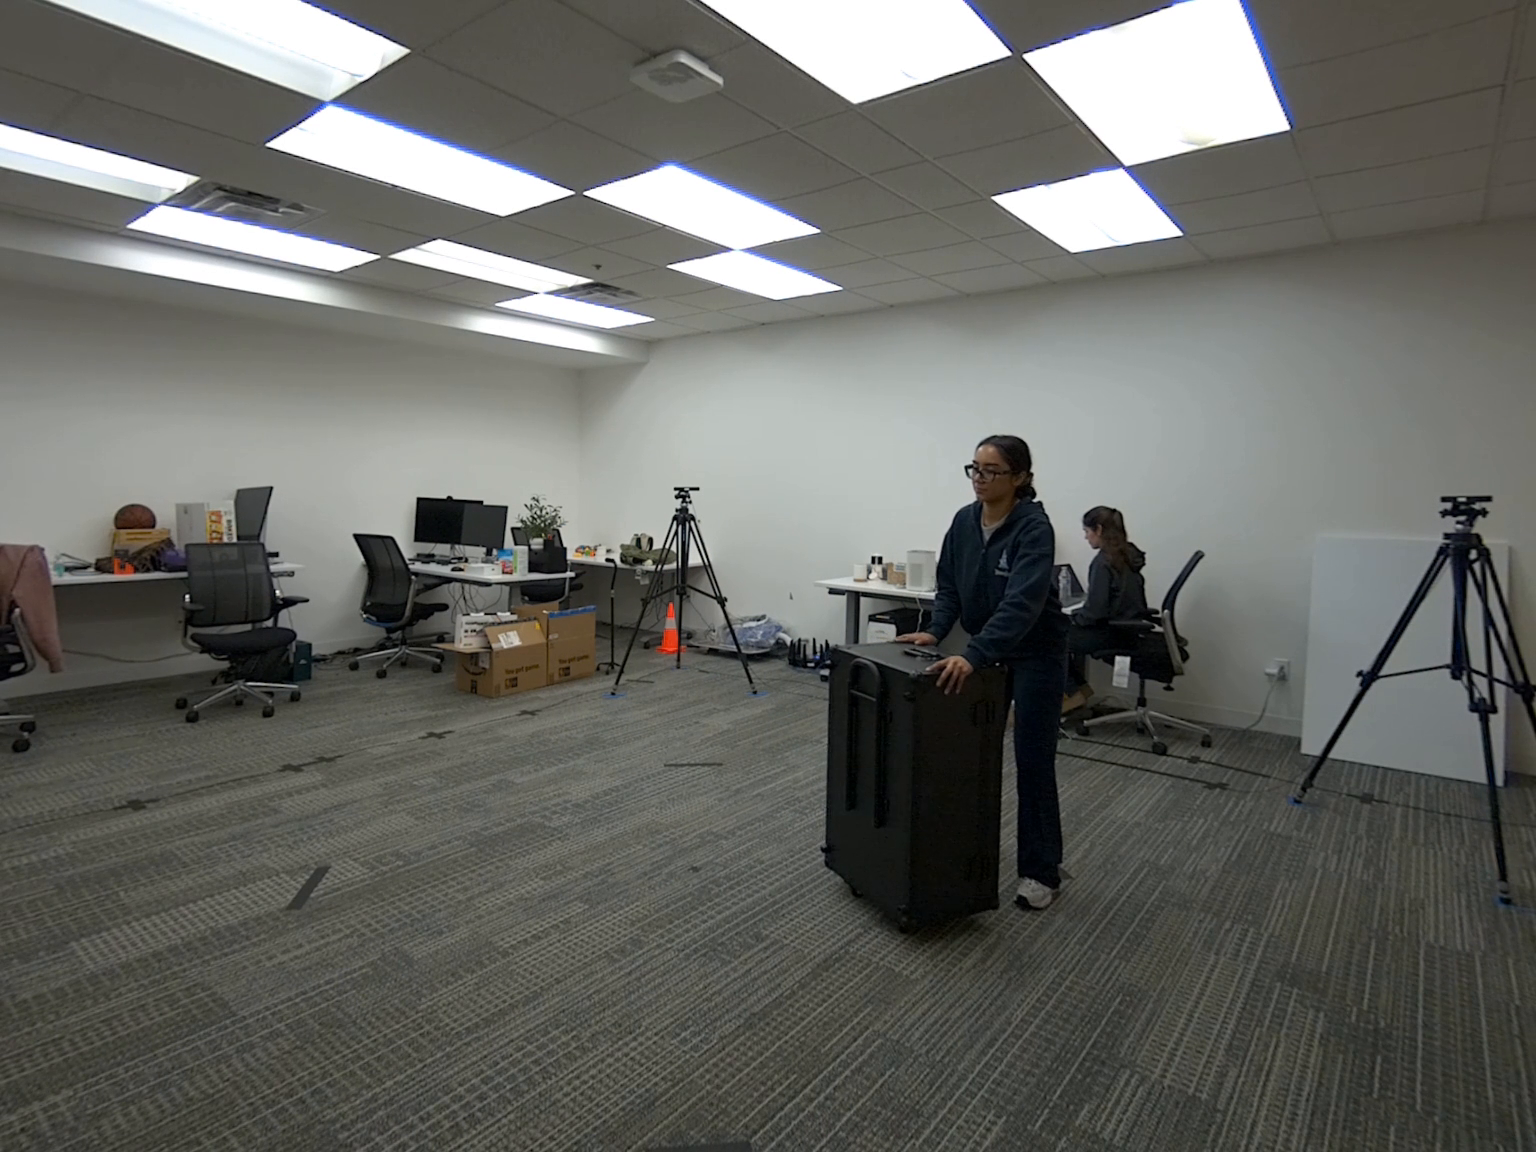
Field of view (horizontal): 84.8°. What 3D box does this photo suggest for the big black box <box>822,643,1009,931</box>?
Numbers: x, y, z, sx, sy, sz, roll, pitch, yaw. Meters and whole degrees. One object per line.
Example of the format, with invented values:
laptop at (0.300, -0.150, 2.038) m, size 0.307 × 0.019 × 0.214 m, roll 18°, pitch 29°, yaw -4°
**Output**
big black box at (0.463, 0.683, 2.829) m, size 0.387 × 0.858 × 0.536 m, roll -1°, pitch 5°, yaw -26°
